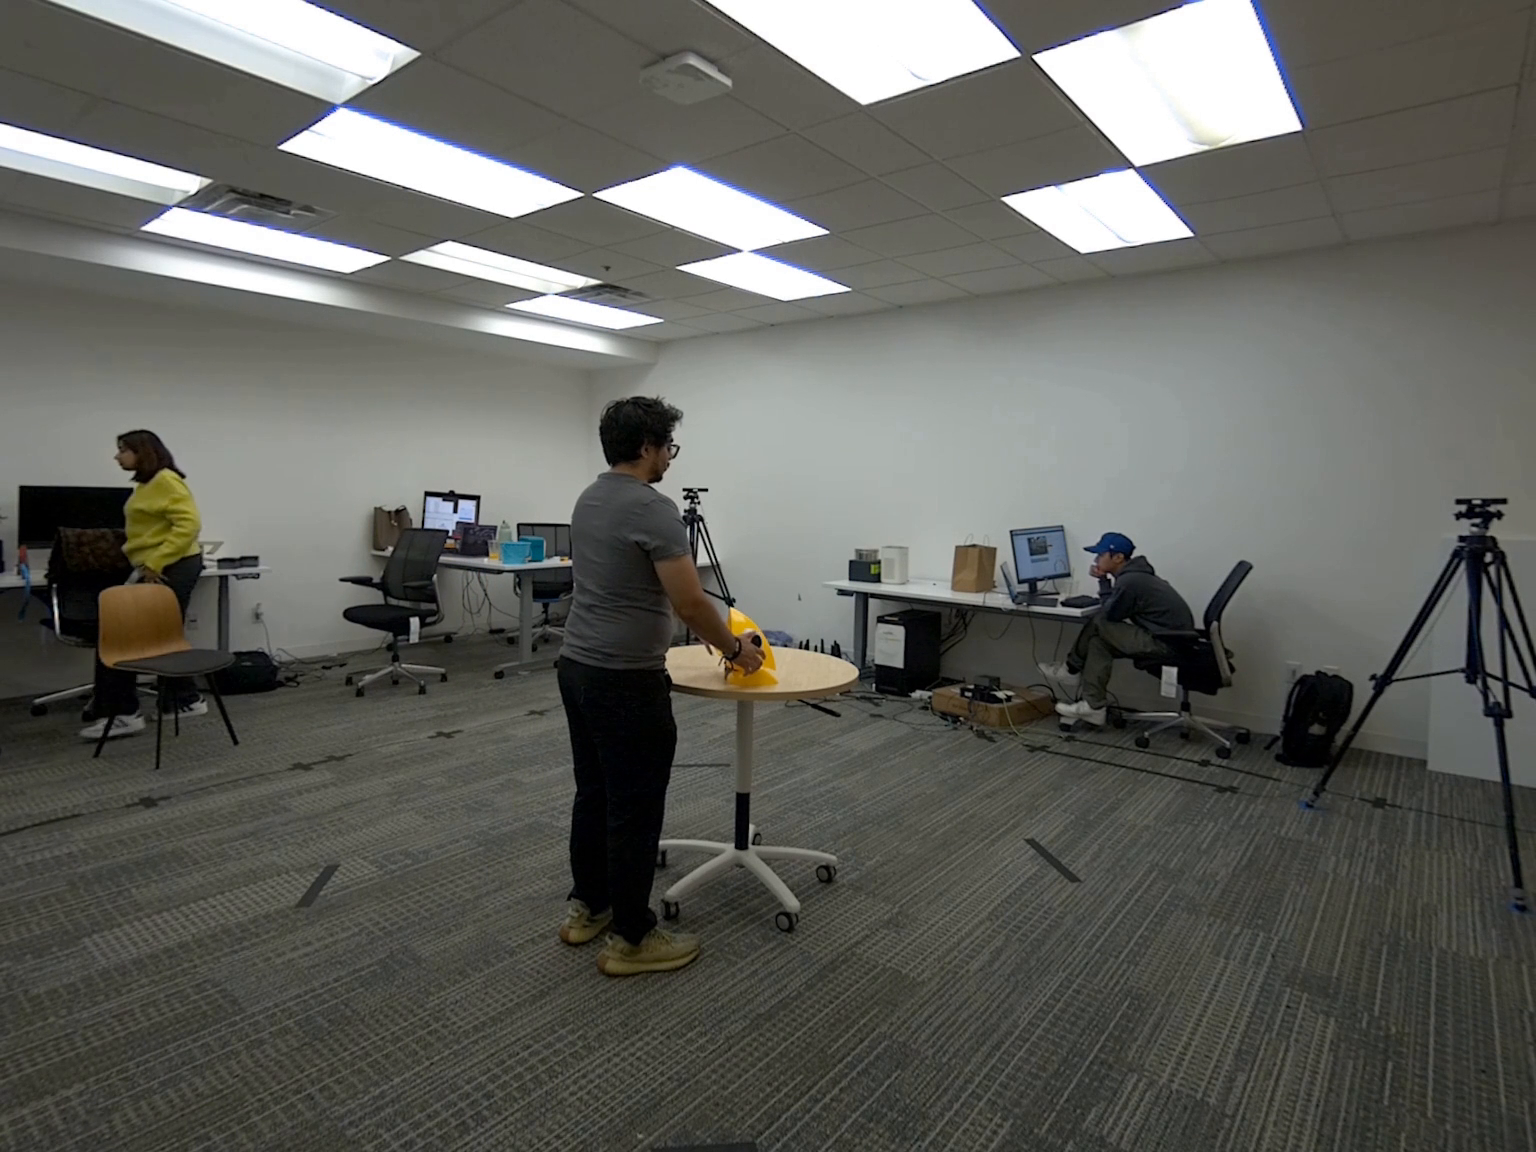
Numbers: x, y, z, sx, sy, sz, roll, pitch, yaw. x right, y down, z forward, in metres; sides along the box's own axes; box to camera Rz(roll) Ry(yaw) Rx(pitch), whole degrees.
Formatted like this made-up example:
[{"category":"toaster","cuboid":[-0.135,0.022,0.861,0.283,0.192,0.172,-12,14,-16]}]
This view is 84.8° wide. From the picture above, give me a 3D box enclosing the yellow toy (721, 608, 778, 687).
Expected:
[{"category":"yellow toy","cuboid":[-0.073,0.213,2.731,0.191,0.230,0.207,1,4,-9]}]
